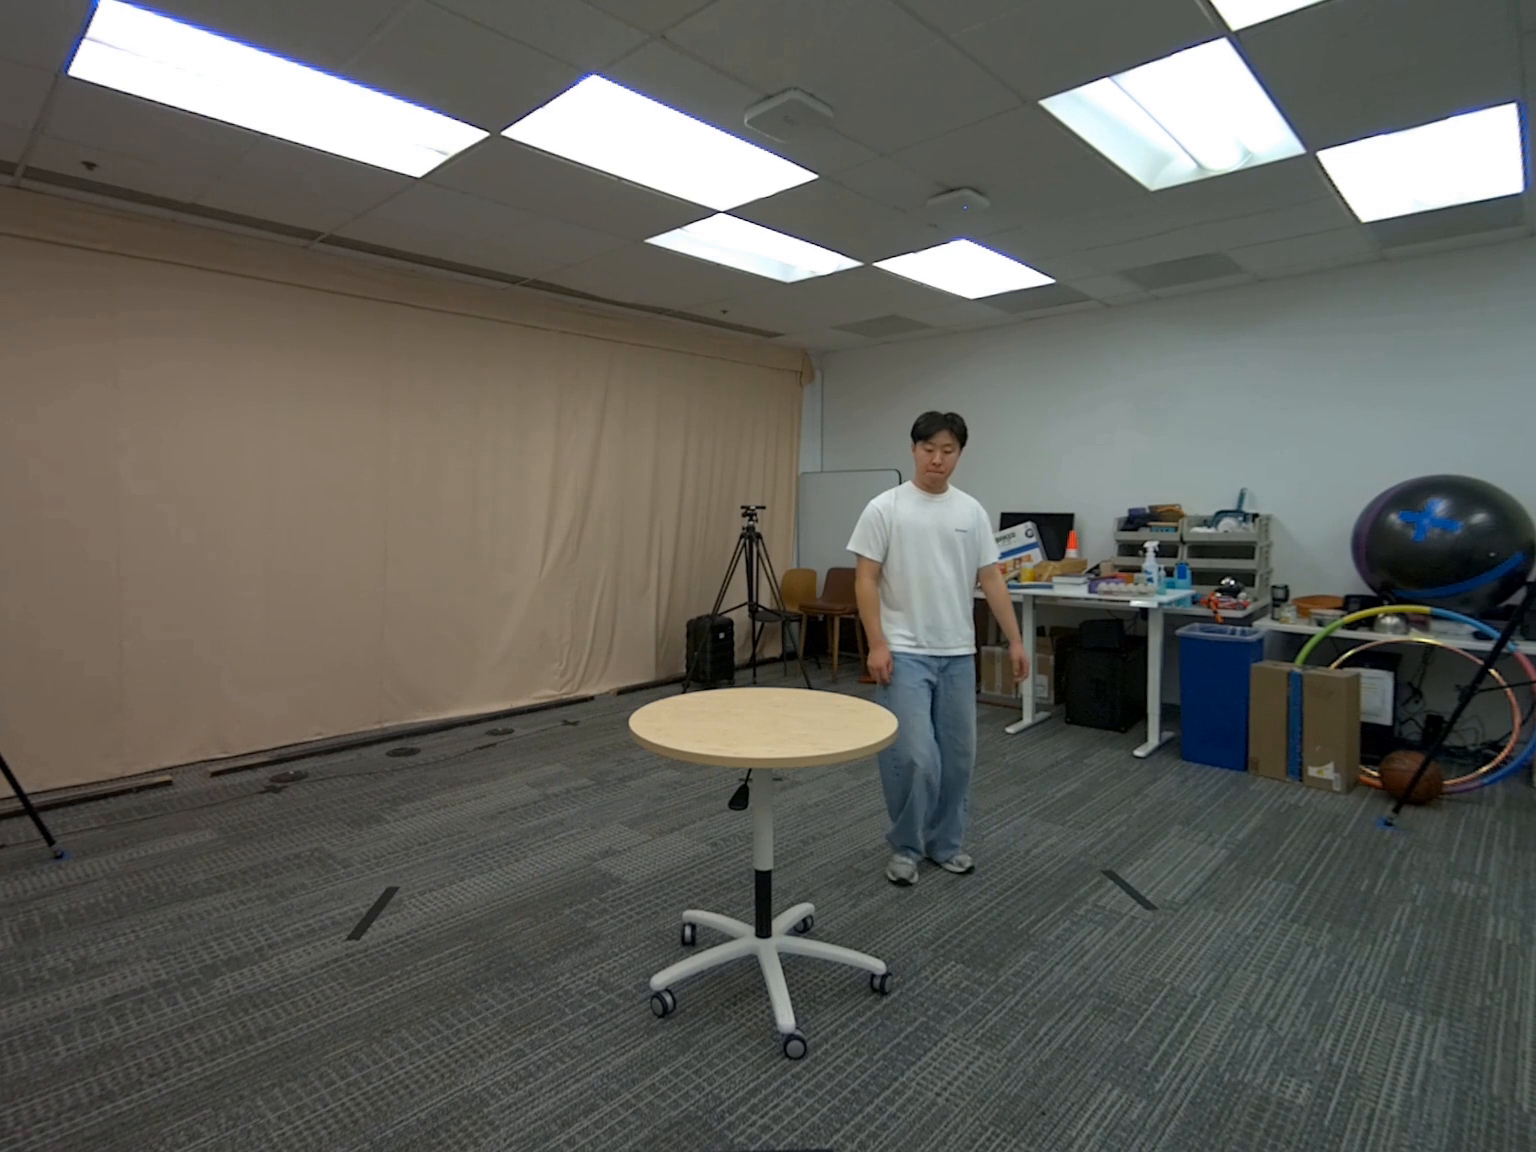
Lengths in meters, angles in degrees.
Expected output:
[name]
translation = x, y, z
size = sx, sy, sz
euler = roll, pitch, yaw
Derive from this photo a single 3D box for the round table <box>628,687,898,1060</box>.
[round table]
translation = -0.024, 0.797, 2.440
size = 0.784, 0.784, 0.788
euler = 0, 4, -2
